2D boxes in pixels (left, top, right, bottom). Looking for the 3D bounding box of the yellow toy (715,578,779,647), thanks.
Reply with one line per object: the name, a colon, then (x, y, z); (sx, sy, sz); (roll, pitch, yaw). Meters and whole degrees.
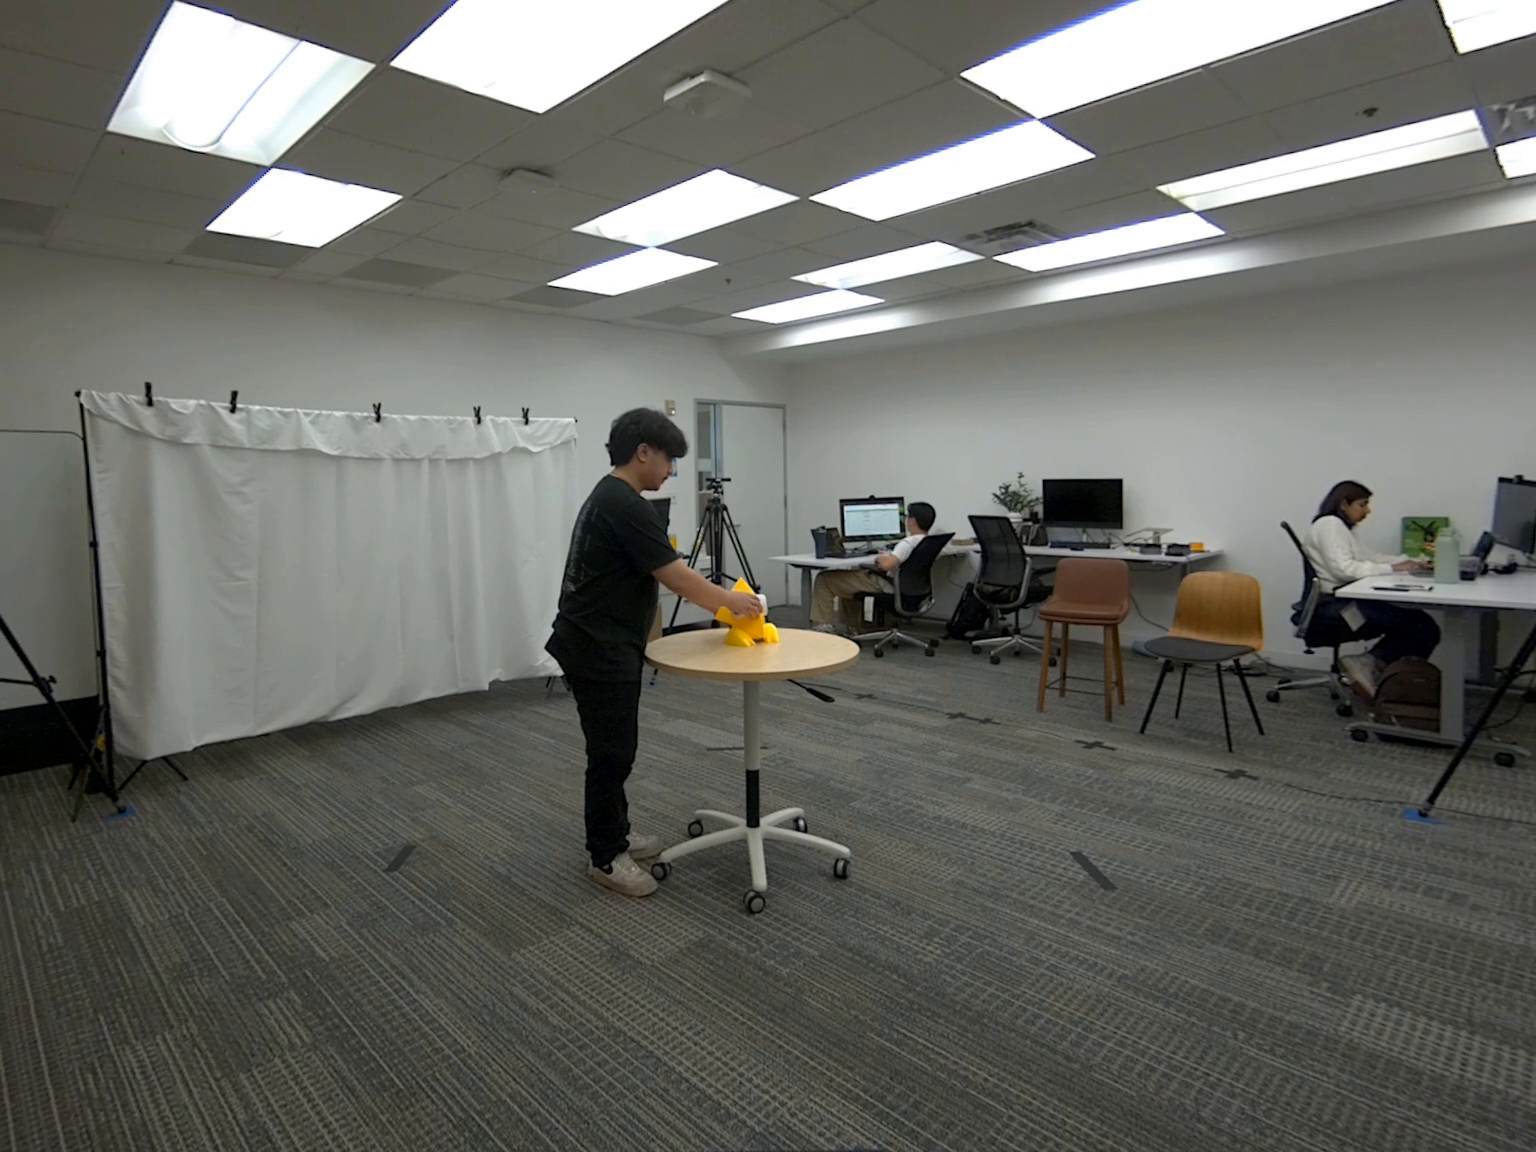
yellow toy: (-0.057, 0.130, 3.163); (0.200, 0.229, 0.199); (-4, 7, -31)
